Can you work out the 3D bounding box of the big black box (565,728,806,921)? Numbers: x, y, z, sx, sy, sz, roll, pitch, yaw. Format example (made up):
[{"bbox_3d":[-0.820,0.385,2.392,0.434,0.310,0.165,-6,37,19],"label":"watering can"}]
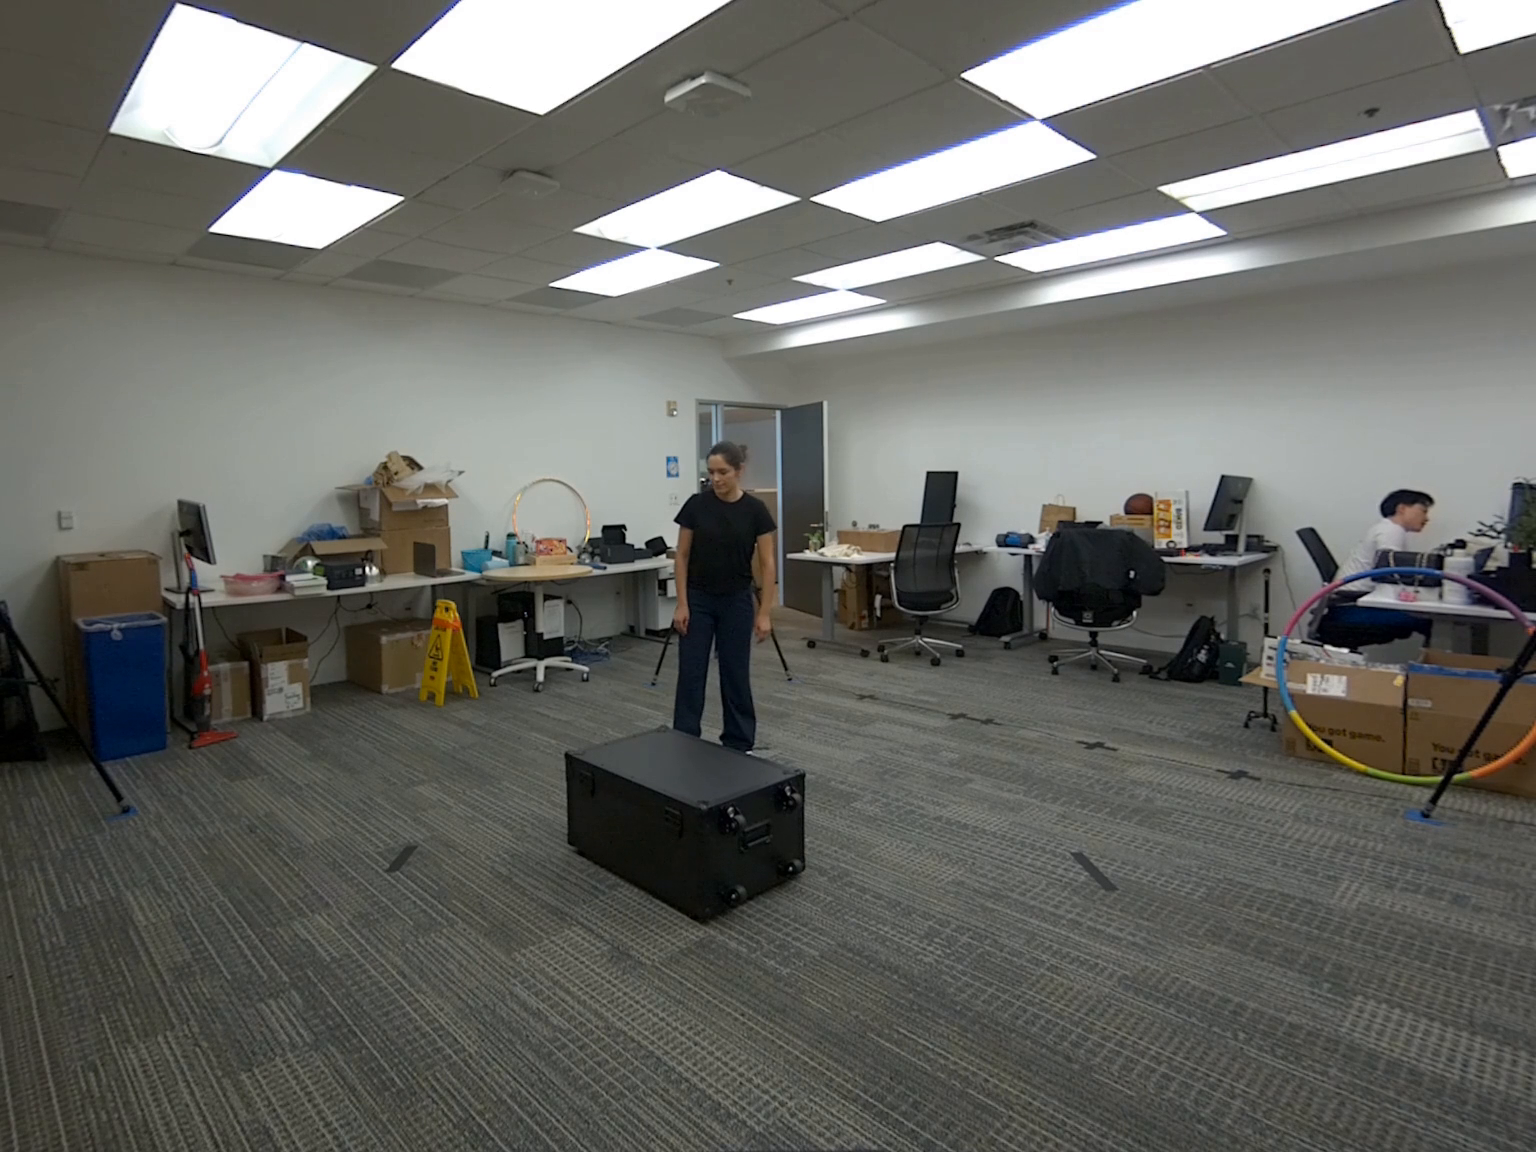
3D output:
[{"bbox_3d":[-0.299,0.860,3.097,0.888,0.394,0.508,4,8,45],"label":"big black box"}]
